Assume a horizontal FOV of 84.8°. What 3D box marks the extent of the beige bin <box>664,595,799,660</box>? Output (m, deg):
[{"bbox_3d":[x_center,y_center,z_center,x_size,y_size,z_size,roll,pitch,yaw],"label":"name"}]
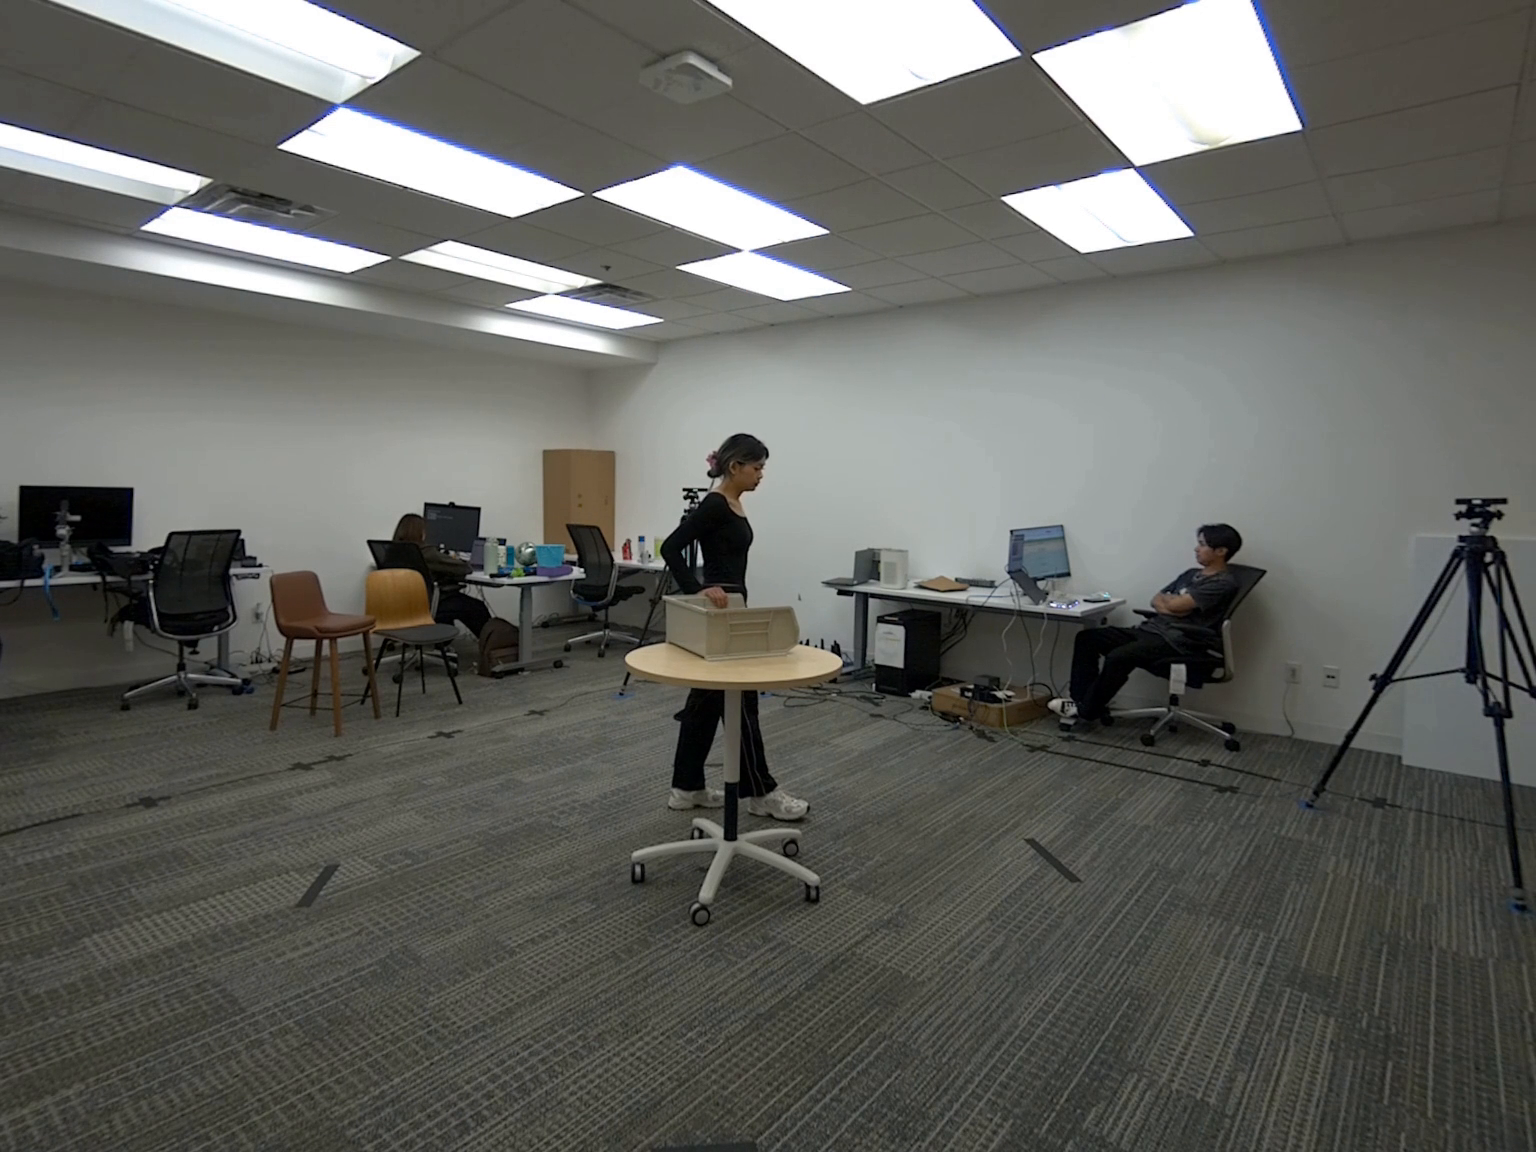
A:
[{"bbox_3d":[-0.159,0.173,3.196,0.369,0.188,0.434,-5,8,-26],"label":"beige bin"}]
